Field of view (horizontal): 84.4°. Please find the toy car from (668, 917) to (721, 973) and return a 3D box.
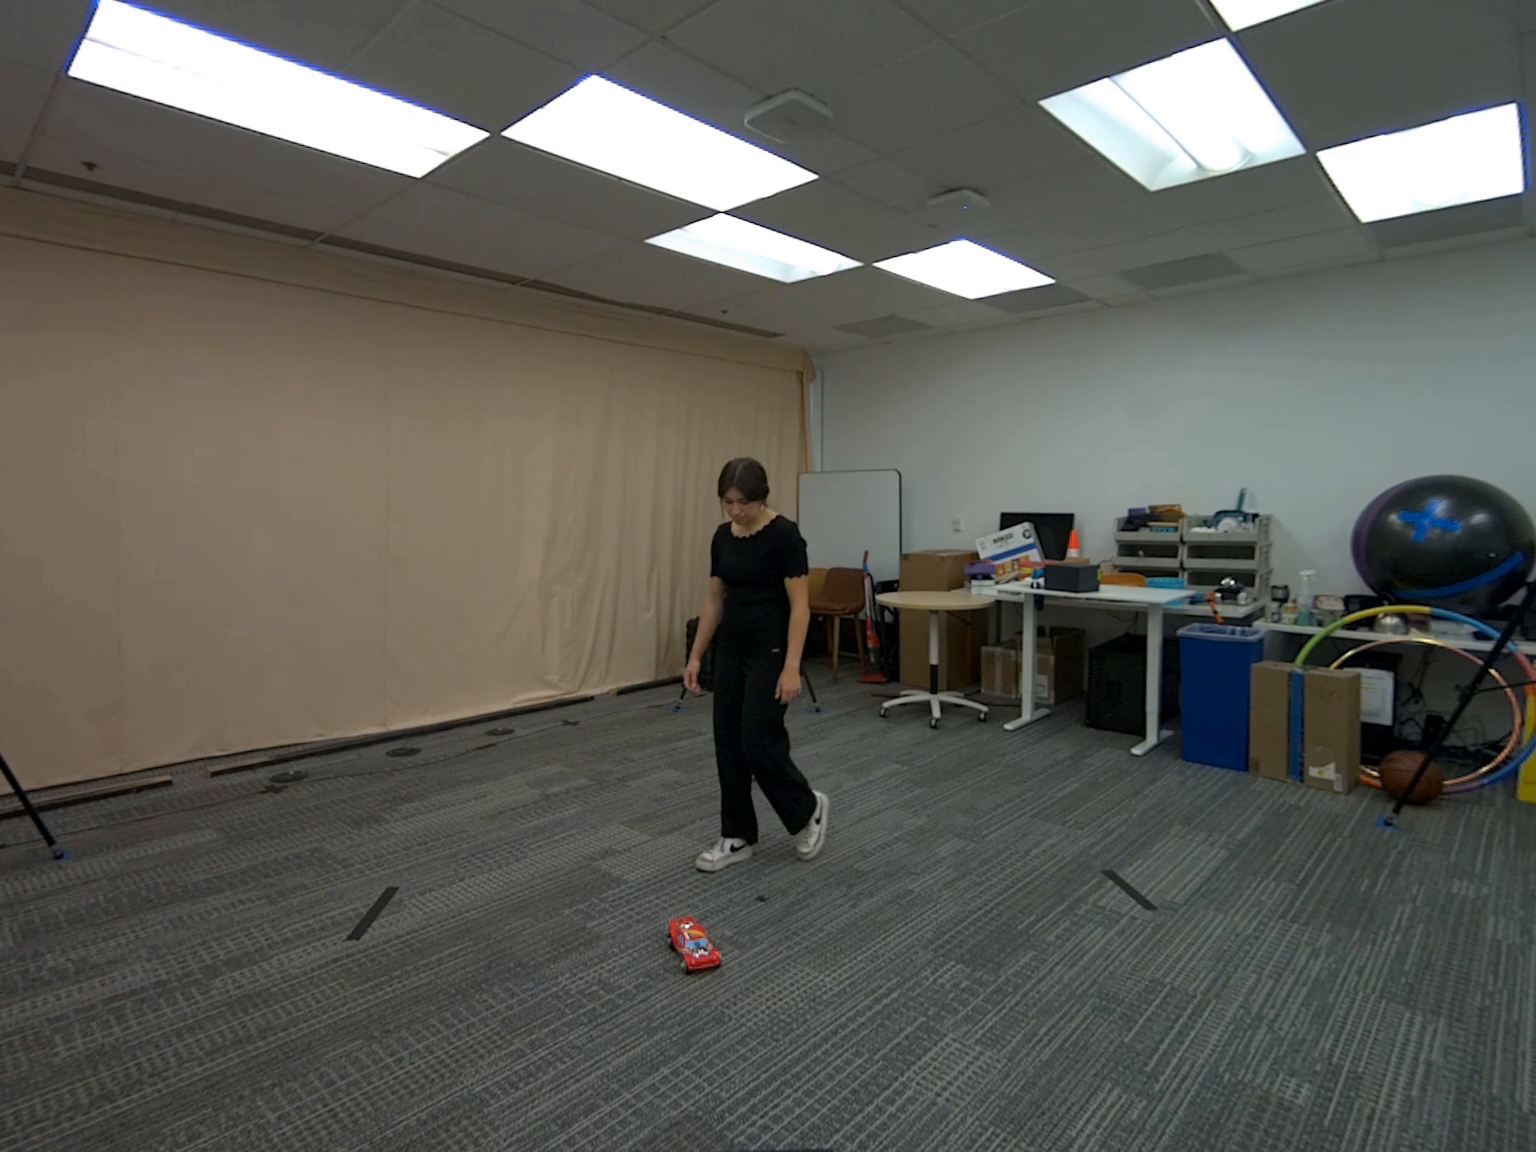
[{"bbox_3d":[-0.238,1.143,2.613,0.128,0.082,0.262,-2,16,-20],"label":"toy car"}]
